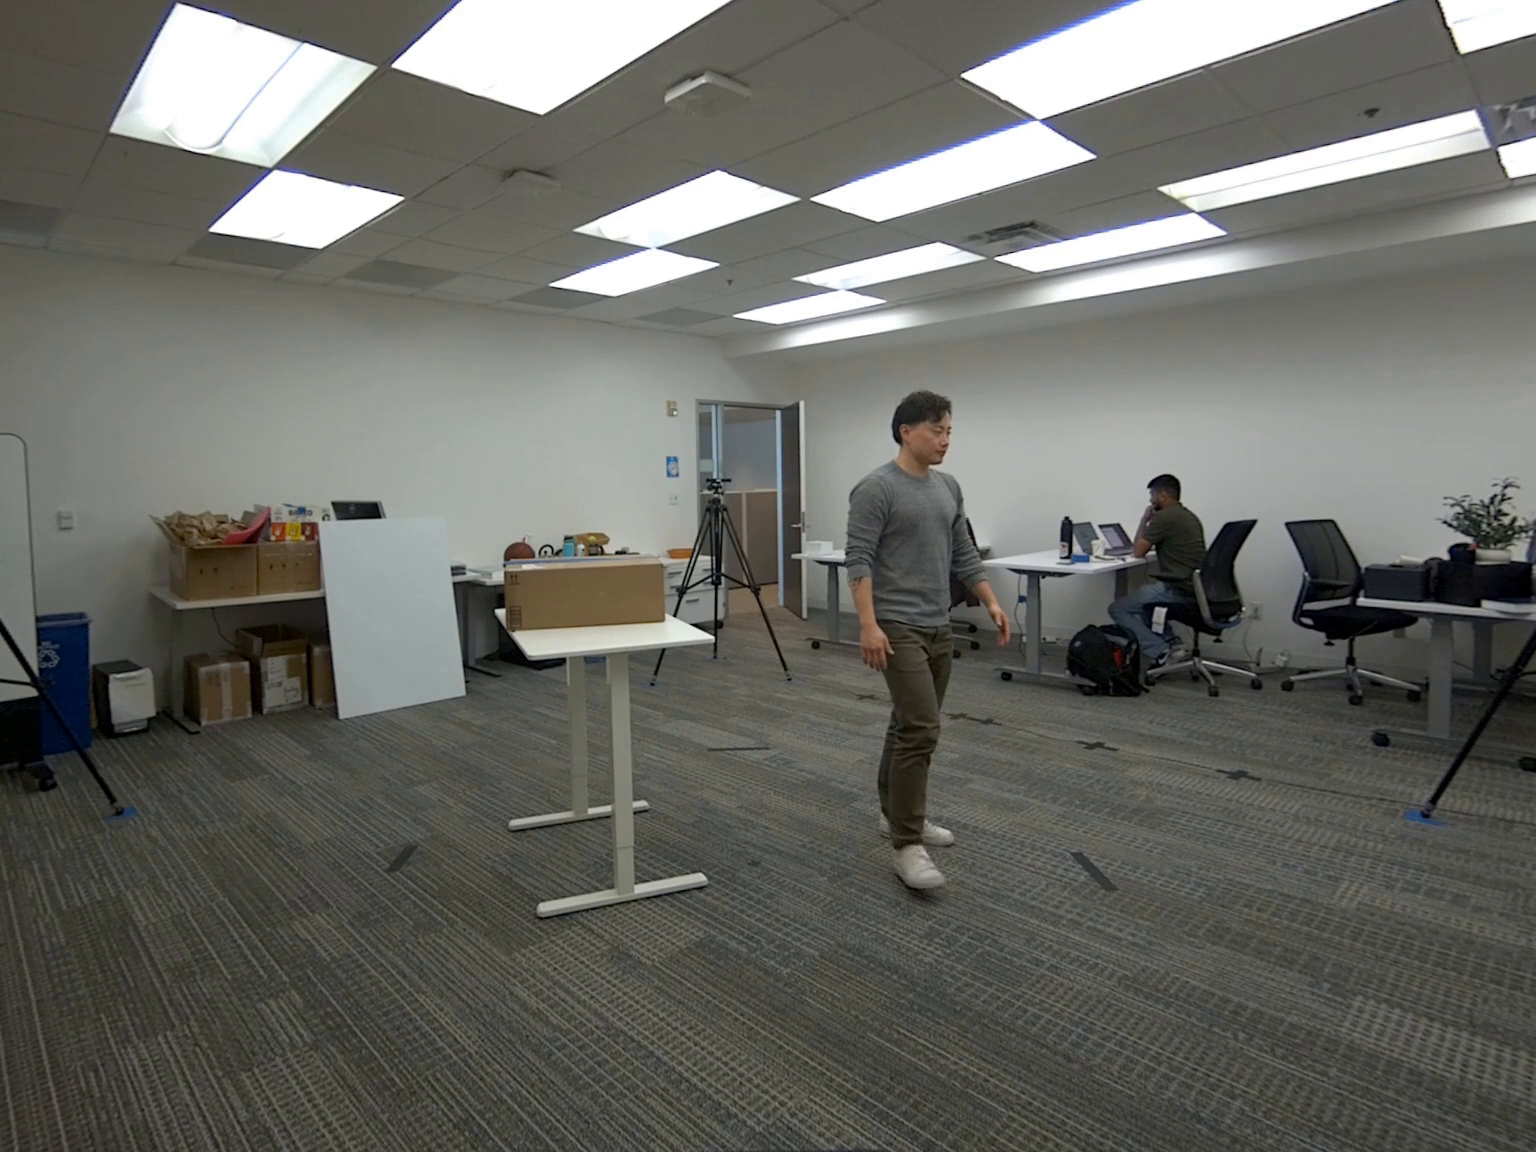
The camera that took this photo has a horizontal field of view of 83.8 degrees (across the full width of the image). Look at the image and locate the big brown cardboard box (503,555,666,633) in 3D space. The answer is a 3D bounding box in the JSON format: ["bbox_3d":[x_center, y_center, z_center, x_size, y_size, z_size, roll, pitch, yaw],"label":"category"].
[{"bbox_3d":[-0.696,0.048,3.242,0.582,0.232,0.424,-2,6,-12],"label":"big brown cardboard box"}]
